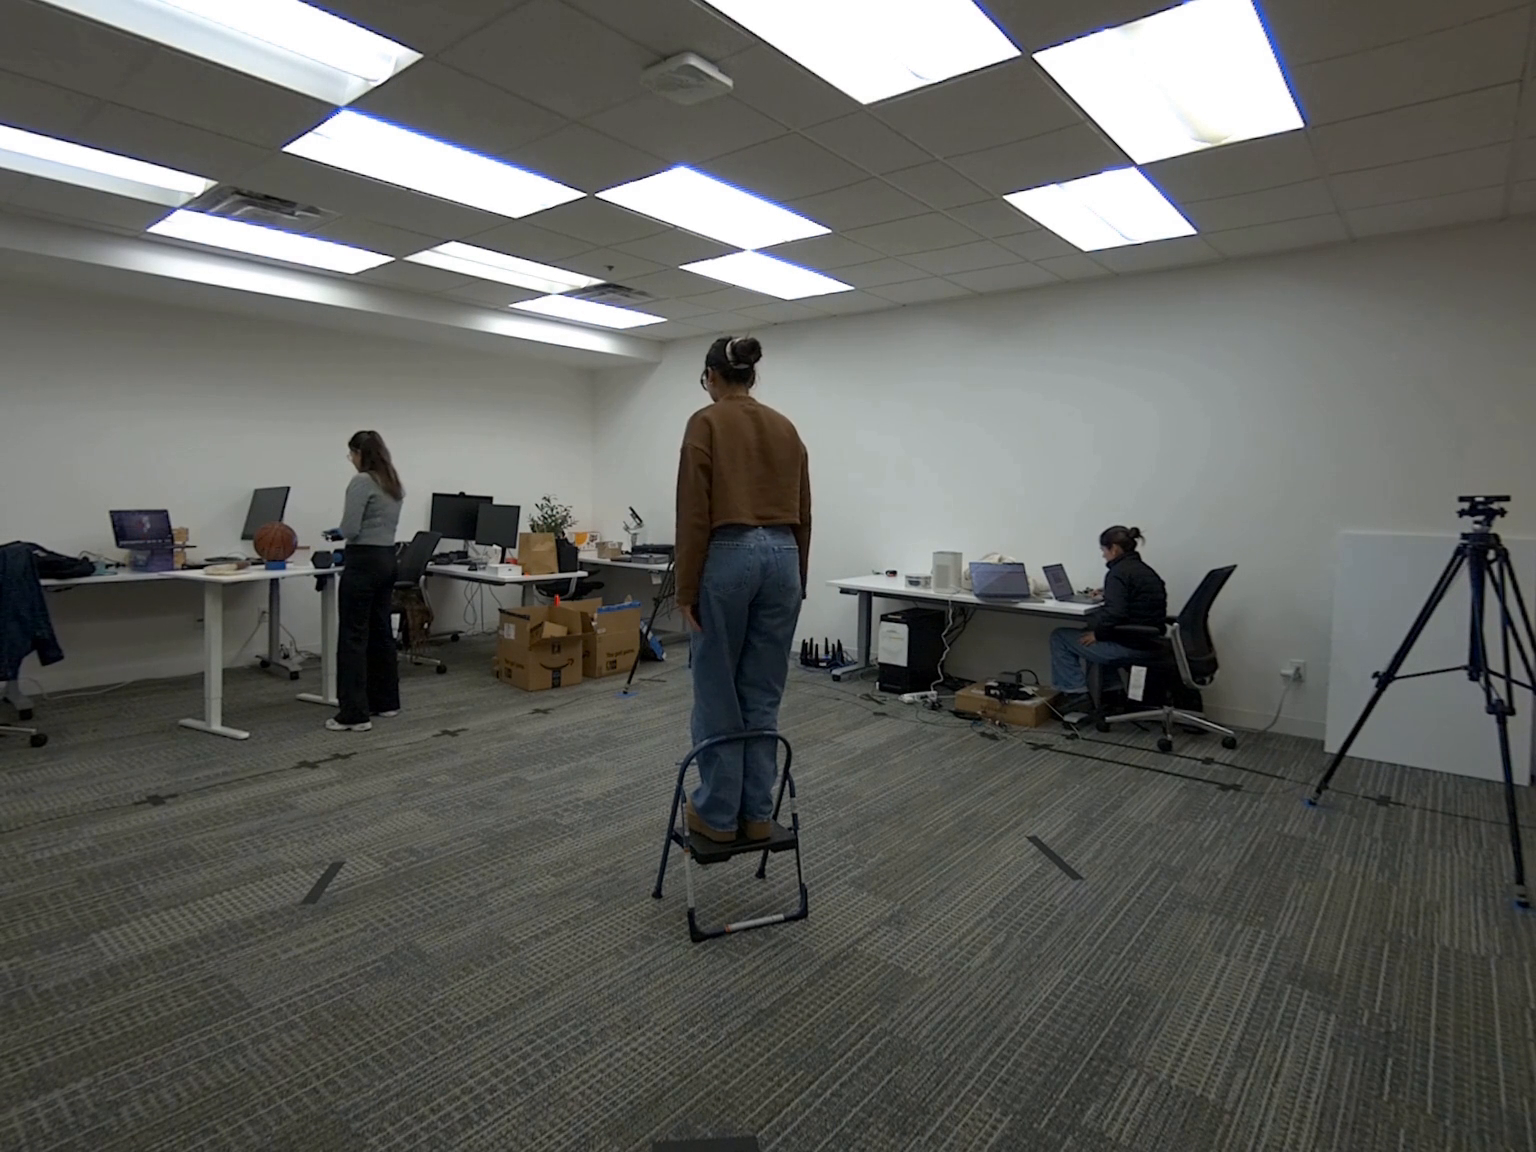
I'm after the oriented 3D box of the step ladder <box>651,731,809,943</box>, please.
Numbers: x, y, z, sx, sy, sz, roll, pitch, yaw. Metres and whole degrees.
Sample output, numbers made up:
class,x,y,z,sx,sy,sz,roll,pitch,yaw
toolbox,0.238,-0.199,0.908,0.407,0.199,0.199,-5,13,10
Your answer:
class,x,y,z,sx,sy,sz,roll,pitch,yaw
step ladder,-0.130,0.798,2.812,0.420,0.604,0.359,-1,4,-27
